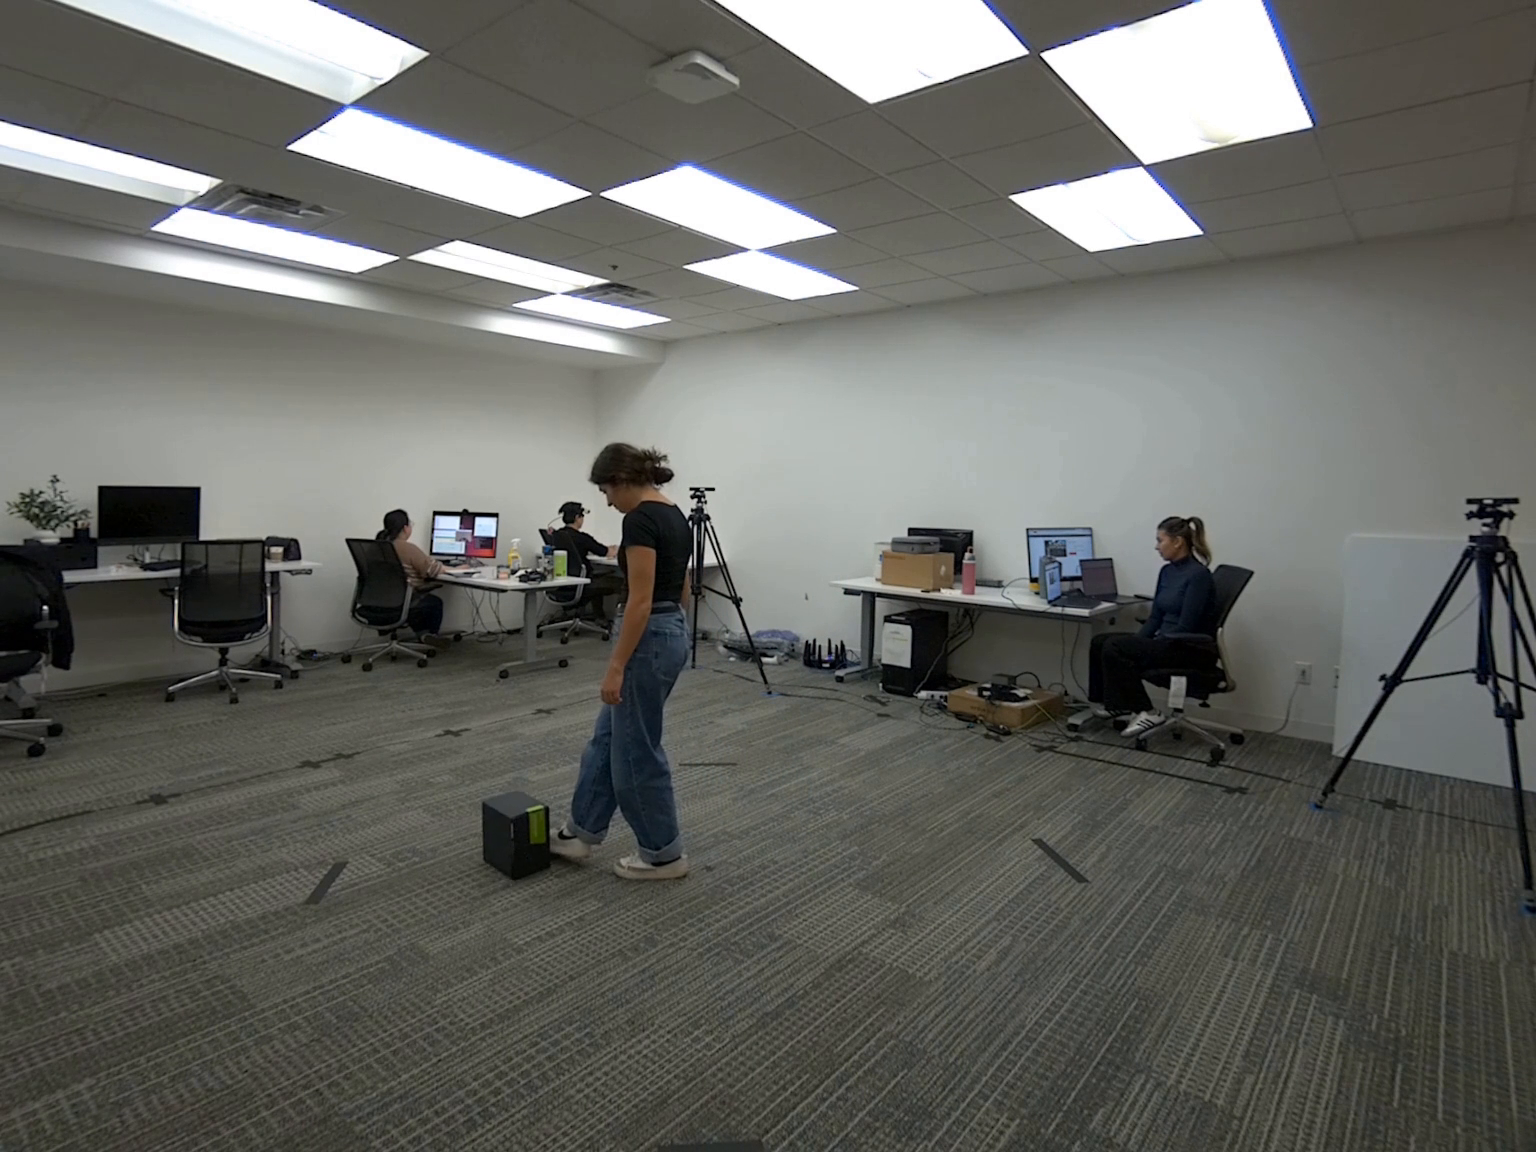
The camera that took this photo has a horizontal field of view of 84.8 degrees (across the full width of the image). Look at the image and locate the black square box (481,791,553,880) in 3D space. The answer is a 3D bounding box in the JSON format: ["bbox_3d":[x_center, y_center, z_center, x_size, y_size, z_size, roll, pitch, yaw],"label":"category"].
[{"bbox_3d":[-0.928,0.934,3.108,0.224,0.227,0.151,6,7,44],"label":"black square box"}]
